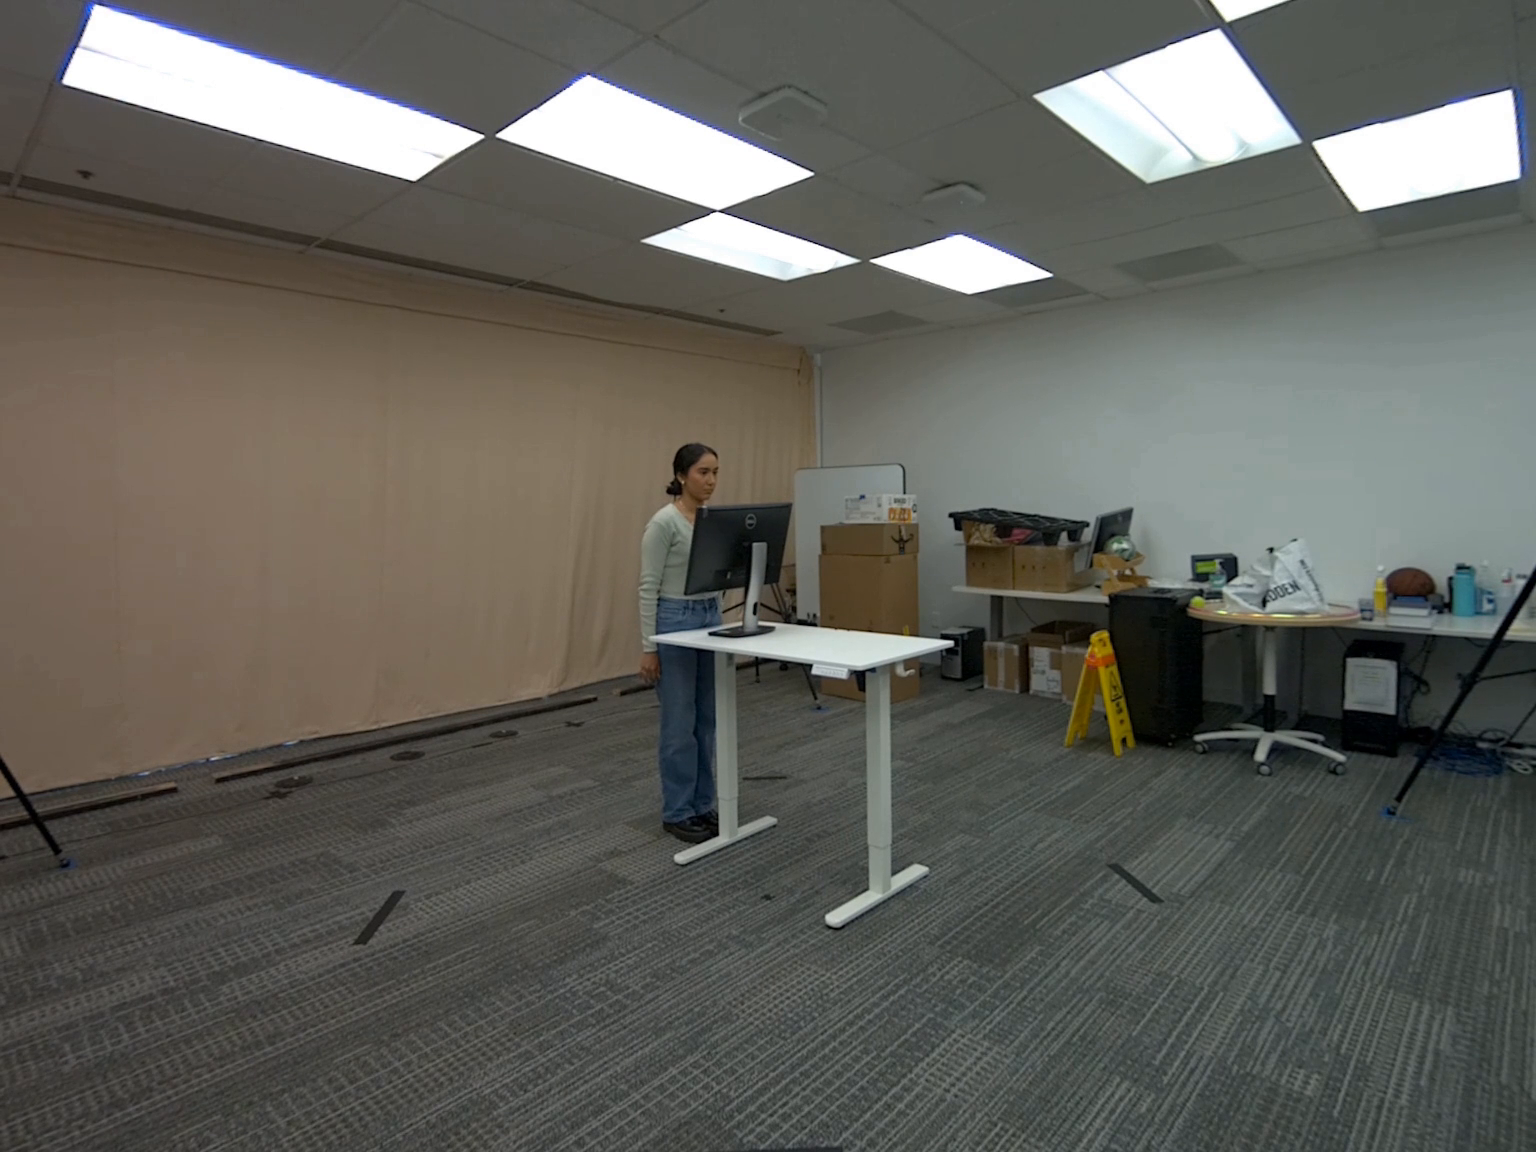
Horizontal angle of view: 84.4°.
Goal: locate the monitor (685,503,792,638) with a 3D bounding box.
[{"bbox_3d":[-0.090,-0.021,3.350,0.193,0.521,0.523,5,8,42],"label":"monitor"}]
